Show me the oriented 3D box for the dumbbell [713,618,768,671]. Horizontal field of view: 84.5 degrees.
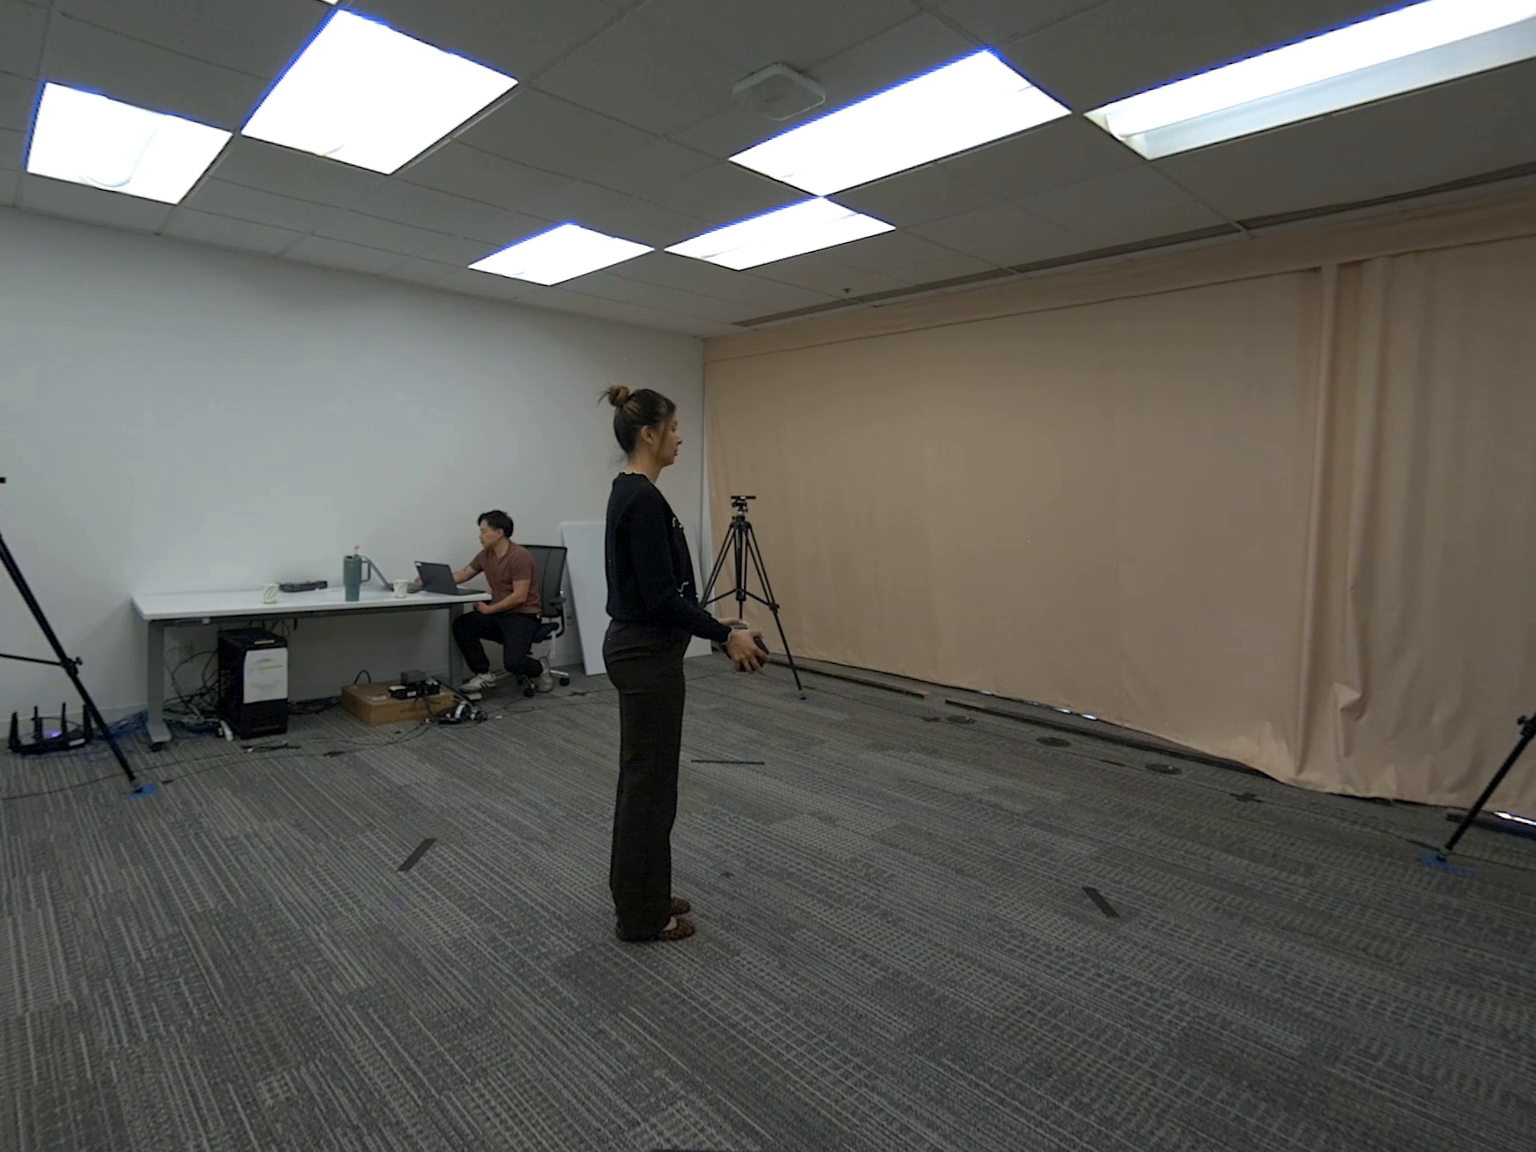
[{"bbox_3d":[-0.095,0.224,2.718,0.108,0.122,0.296,-29,9,-6],"label":"dumbbell"}]
